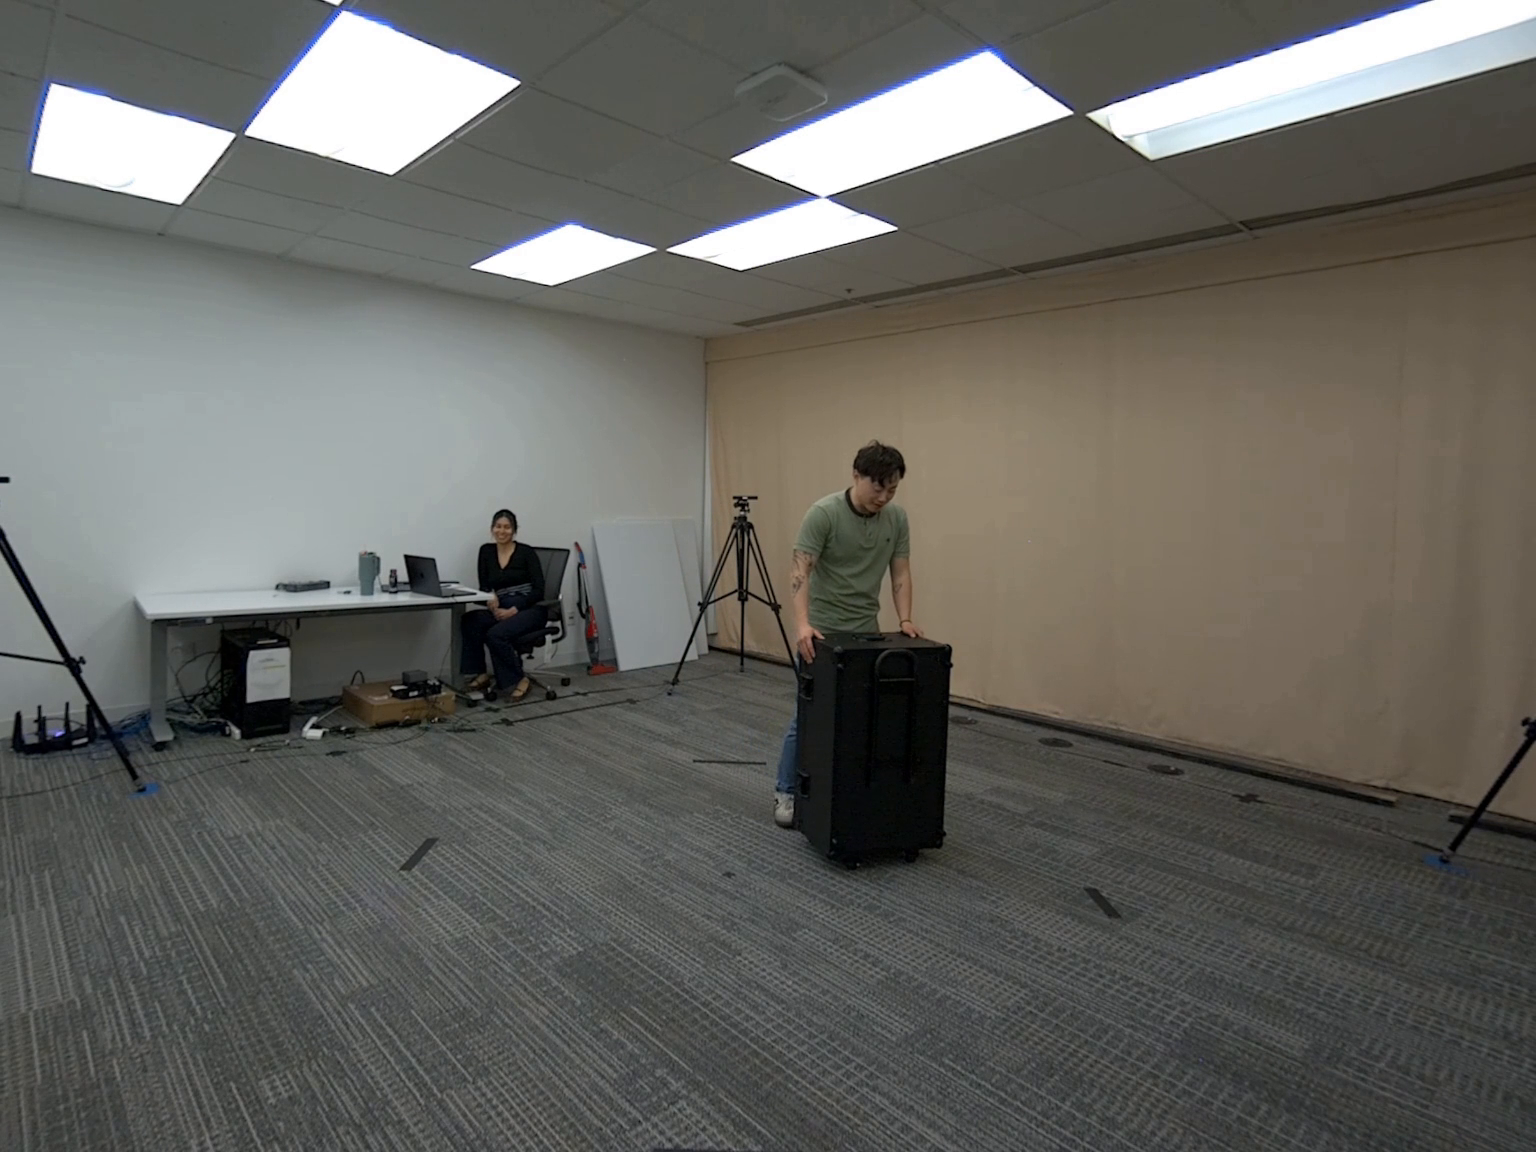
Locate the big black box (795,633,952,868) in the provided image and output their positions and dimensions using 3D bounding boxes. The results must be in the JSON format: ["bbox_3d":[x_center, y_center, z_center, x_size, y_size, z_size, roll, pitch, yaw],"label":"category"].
[{"bbox_3d":[0.399,0.671,3.298,0.513,0.859,0.403,1,4,-20],"label":"big black box"}]
